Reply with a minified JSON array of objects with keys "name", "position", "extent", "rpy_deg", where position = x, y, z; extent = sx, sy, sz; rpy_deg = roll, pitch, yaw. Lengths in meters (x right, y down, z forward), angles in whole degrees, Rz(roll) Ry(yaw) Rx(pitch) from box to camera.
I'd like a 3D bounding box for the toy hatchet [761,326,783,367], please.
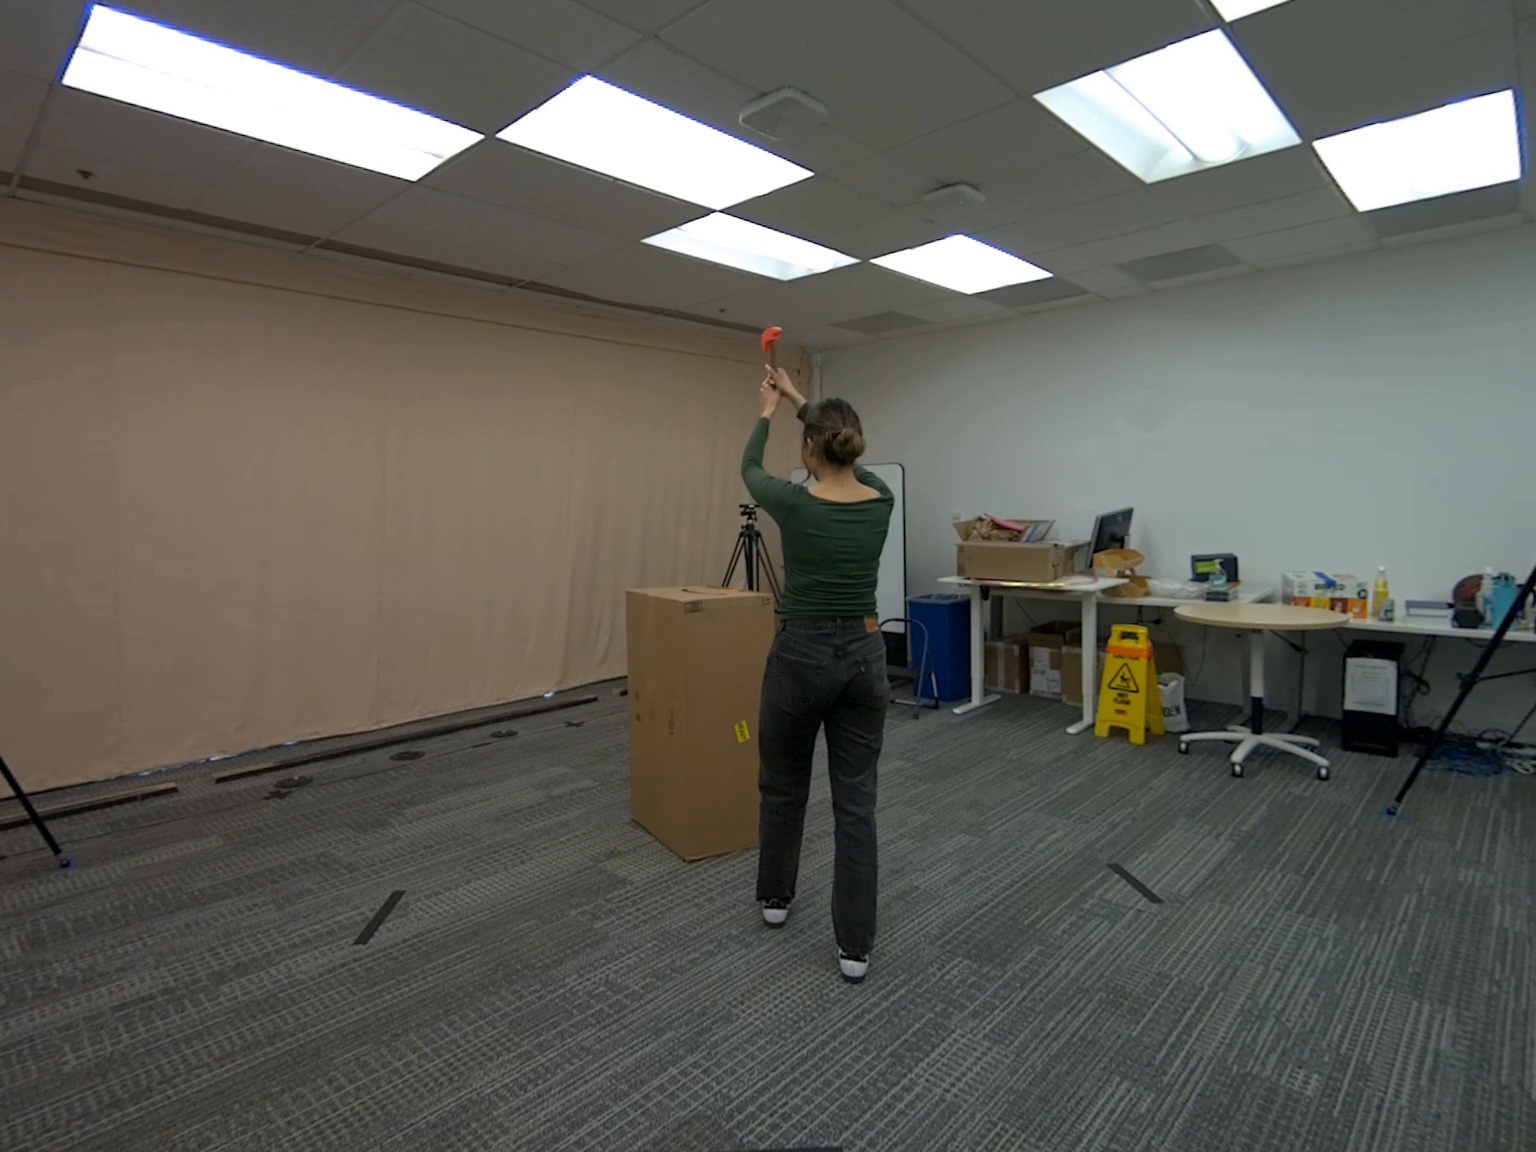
[{"name":"toy hatchet","position":[0.005,-0.717,2.885],"extent":[0.029,0.267,0.135],"rpy_deg":[-4,21,-28]}]
